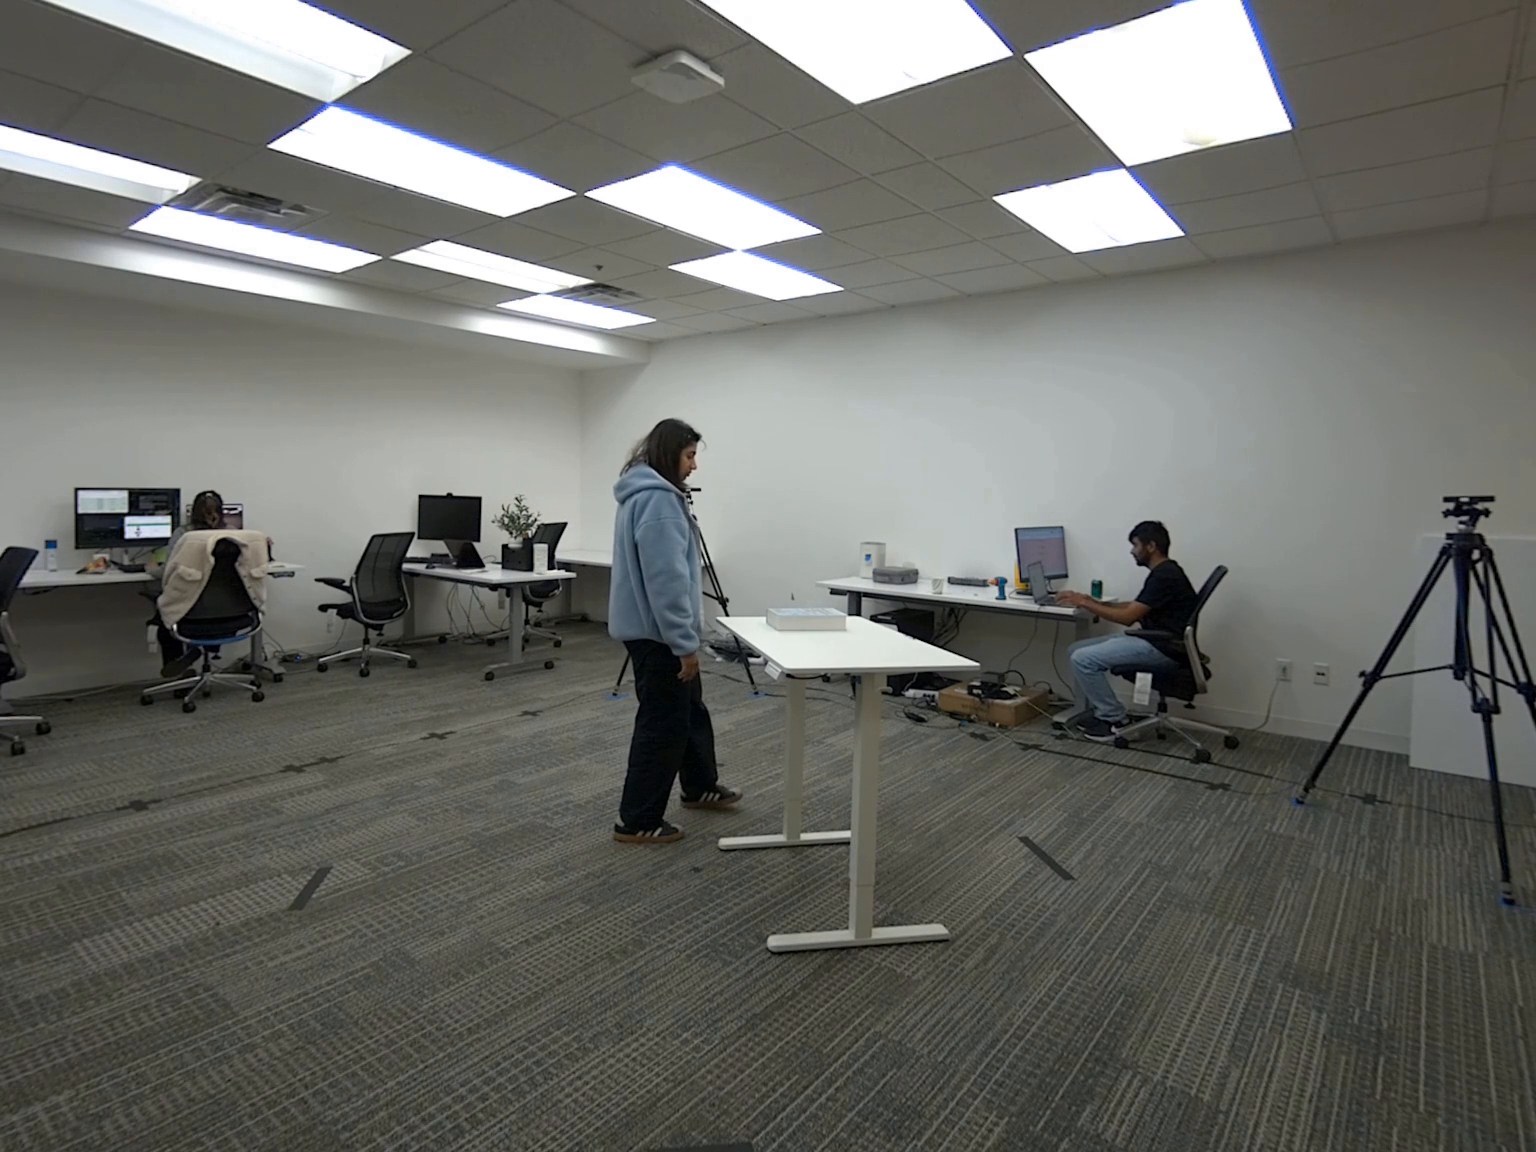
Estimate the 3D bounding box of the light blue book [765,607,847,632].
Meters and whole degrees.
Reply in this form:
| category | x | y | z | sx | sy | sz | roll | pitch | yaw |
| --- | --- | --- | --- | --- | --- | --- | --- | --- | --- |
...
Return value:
| category | x | y | z | sx | sy | sz | roll | pitch | yaw |
| --- | --- | --- | --- | --- | --- | --- | --- | --- | --- |
| light blue book | 0.145 | 0.160 | 3.180 | 0.258 | 0.059 | 0.194 | 0 | 5 | -11 |
